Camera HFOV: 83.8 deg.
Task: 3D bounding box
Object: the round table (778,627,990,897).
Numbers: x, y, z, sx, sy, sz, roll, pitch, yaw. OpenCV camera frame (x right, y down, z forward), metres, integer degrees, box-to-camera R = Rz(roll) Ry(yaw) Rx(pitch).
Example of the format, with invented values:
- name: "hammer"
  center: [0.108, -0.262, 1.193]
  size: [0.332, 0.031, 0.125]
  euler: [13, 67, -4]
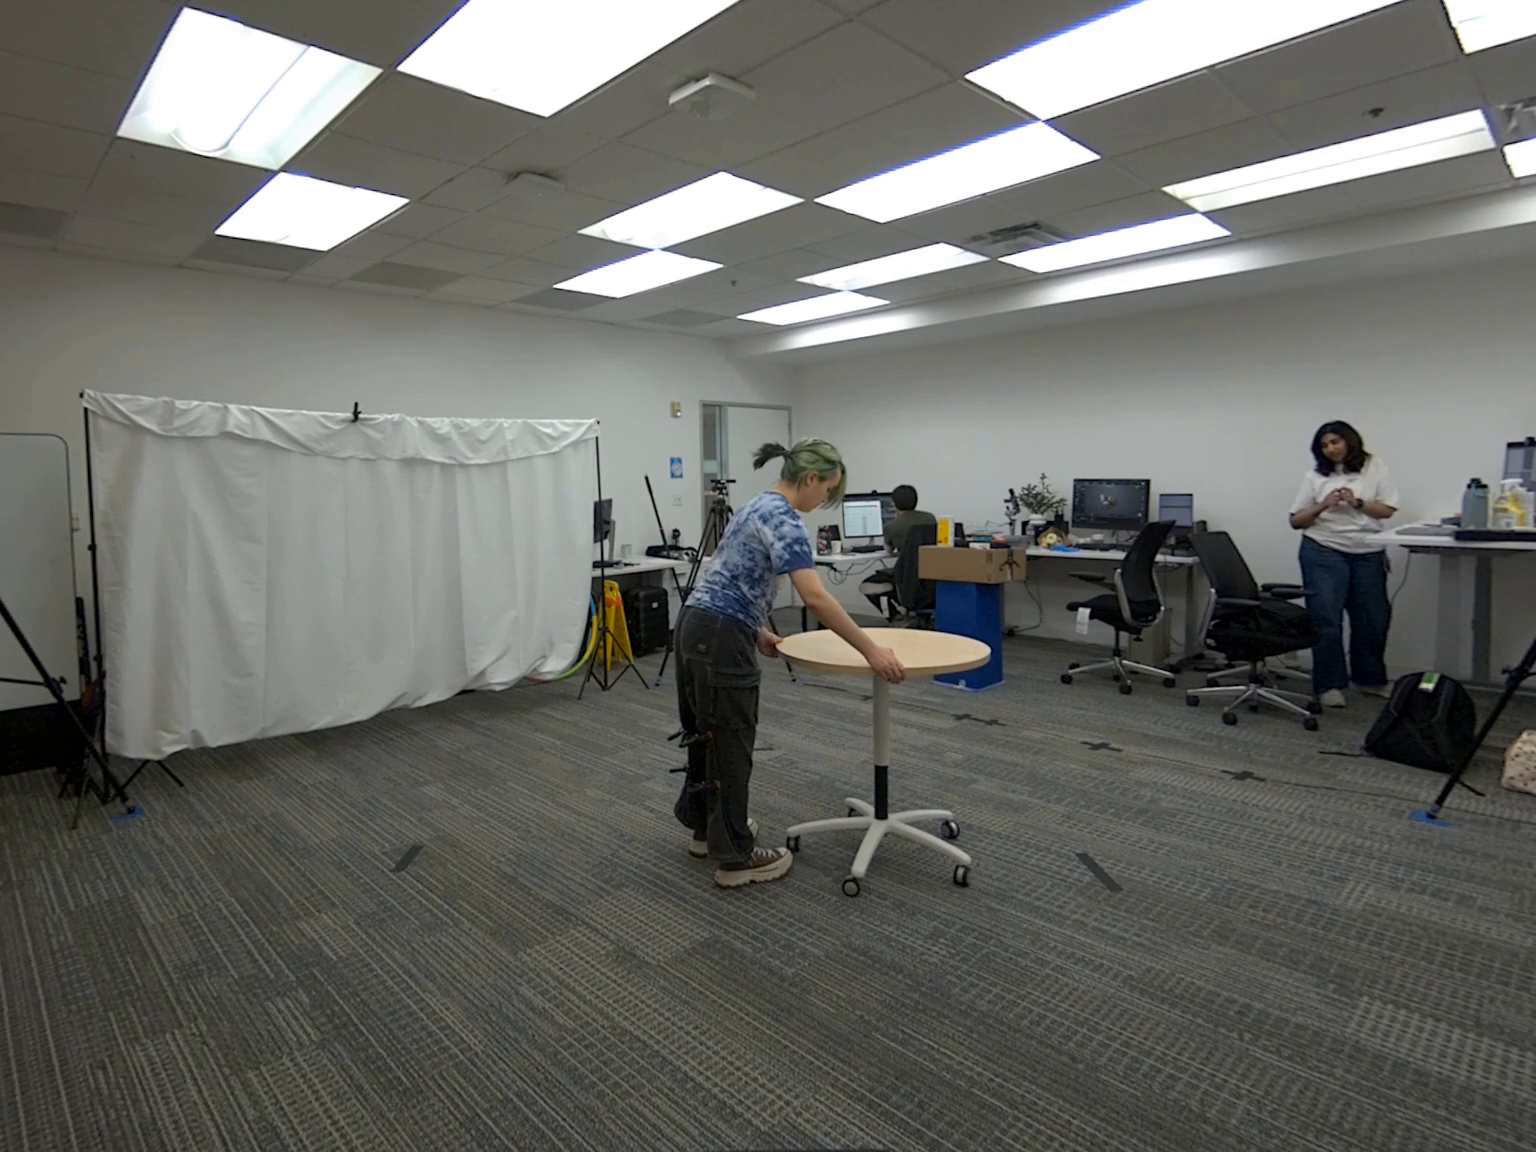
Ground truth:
- name: "round table"
  center: [0.422, 0.645, 3.147]
  size: [0.763, 0.791, 0.768]
  euler: [-1, 5, -2]
